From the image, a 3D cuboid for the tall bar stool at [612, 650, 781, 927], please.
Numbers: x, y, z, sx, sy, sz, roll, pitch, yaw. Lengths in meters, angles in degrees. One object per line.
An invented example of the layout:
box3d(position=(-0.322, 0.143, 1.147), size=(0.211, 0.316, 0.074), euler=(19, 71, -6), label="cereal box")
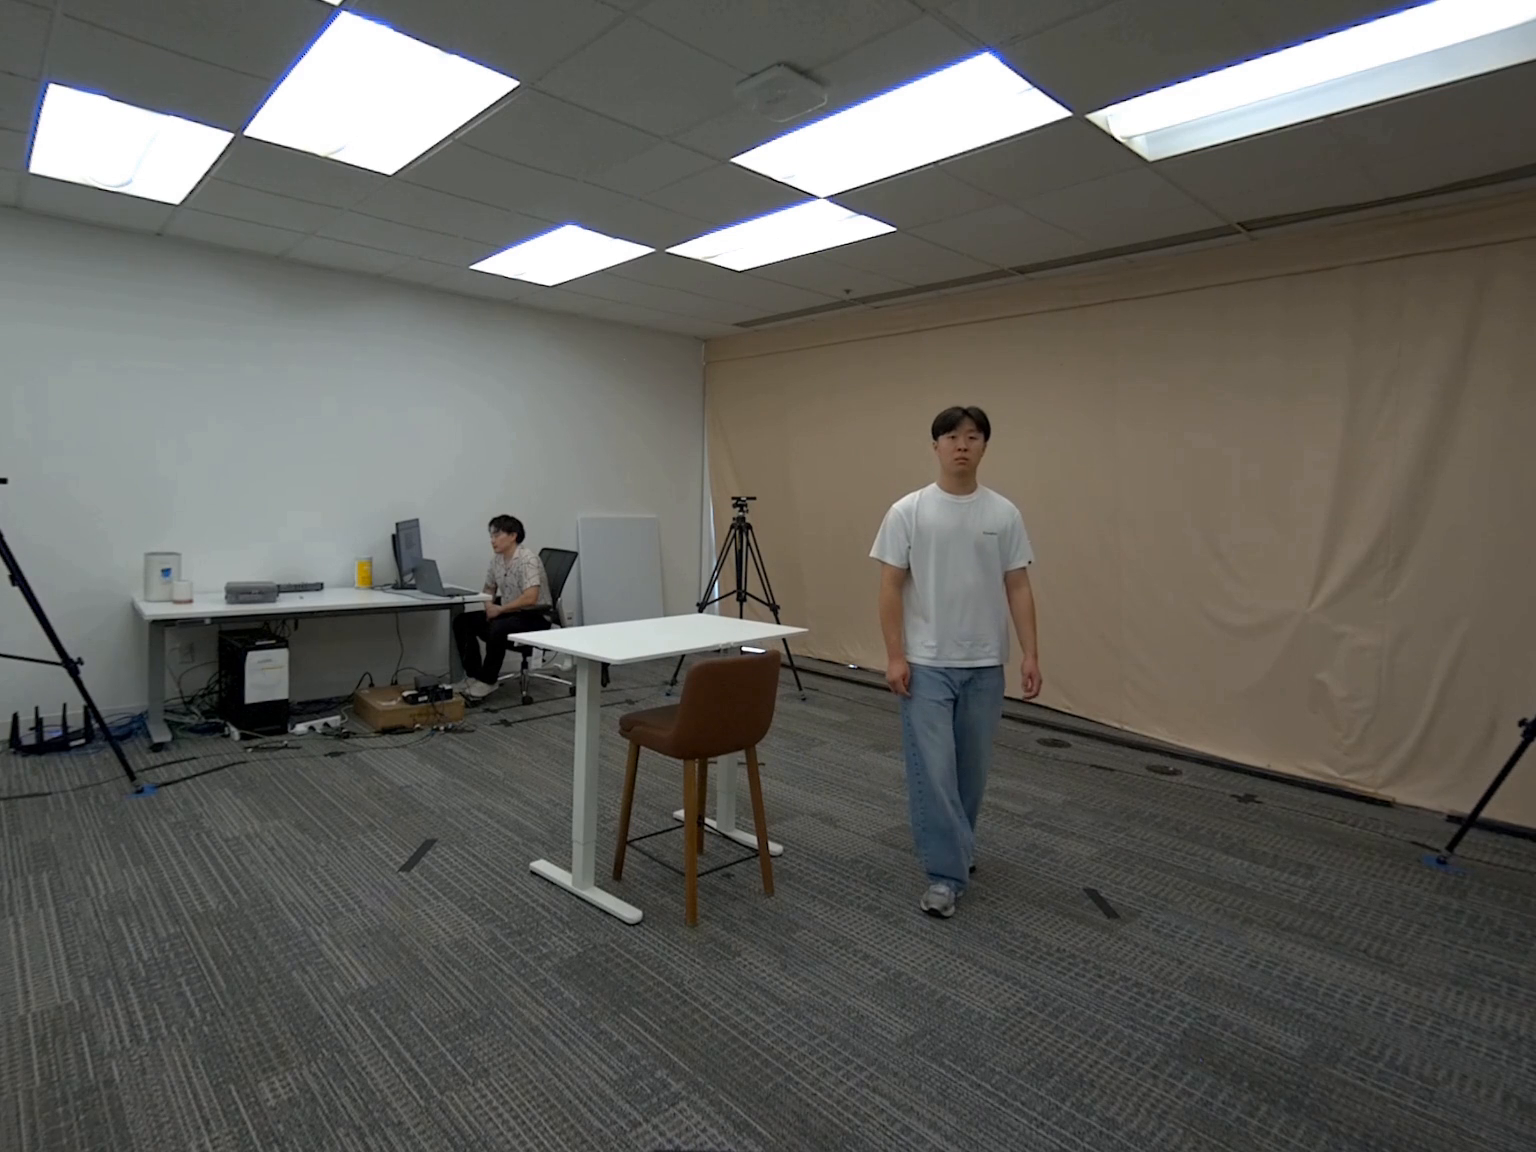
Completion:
box3d(position=(-0.256, 0.682, 2.972), size=(0.446, 0.887, 0.480), euler=(-2, 7, -43), label="tall bar stool")
